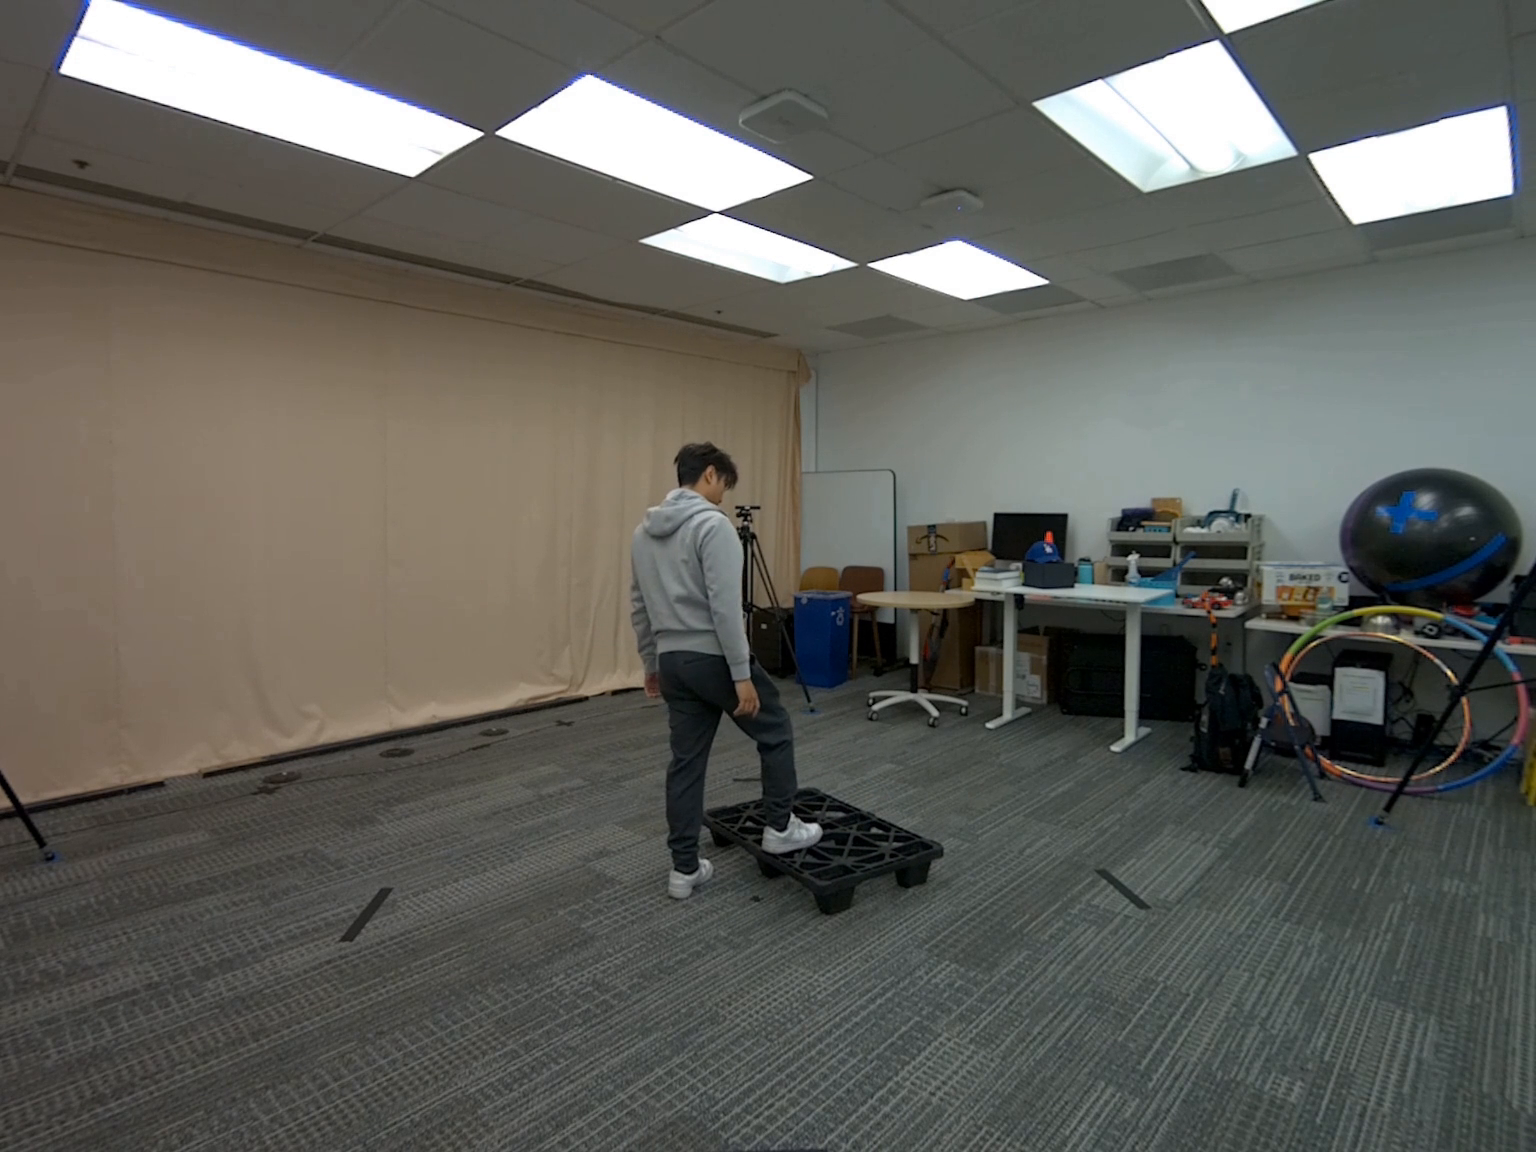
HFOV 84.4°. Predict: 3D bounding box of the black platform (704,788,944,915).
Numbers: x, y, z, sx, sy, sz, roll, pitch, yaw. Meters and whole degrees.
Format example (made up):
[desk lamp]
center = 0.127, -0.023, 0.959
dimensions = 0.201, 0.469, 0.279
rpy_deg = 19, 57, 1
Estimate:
[black platform]
center = 0.182, 1.052, 3.277
dimensions = 0.588, 0.143, 0.831
rpy_deg = -4, 6, -34
